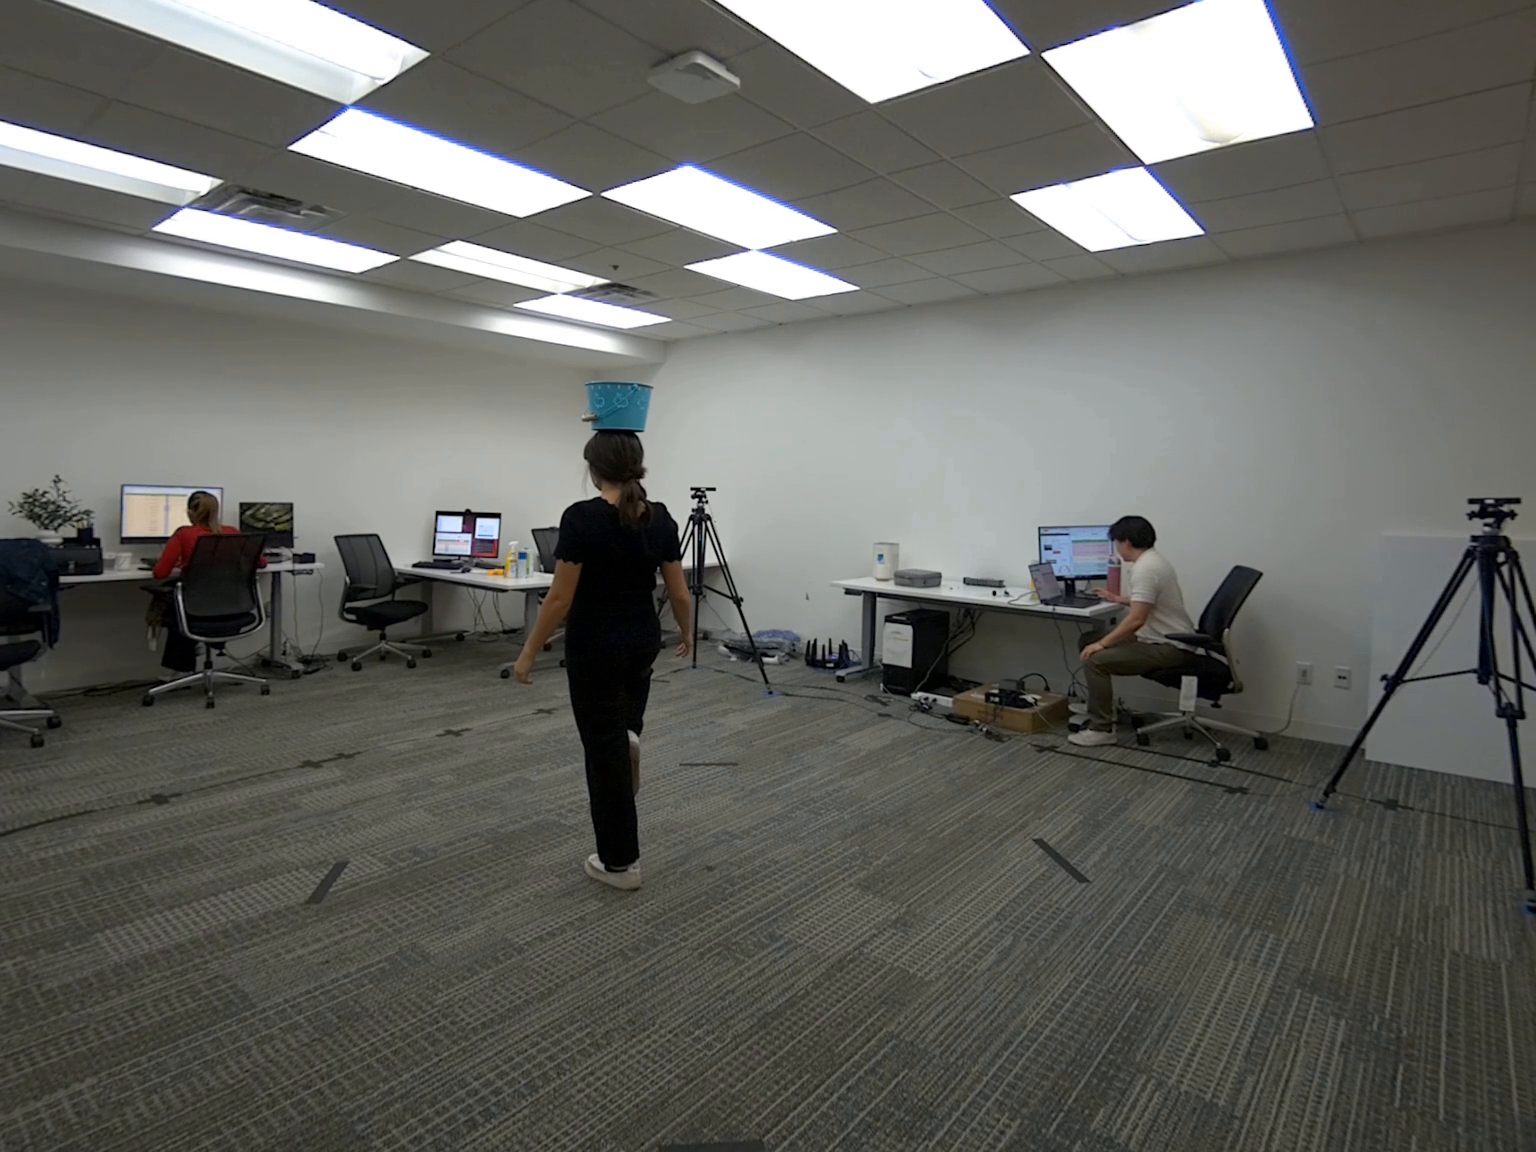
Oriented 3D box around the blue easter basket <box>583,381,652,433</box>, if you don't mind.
[{"bbox_3d":[-0.526,-0.574,2.877,0.243,0.155,0.245,0,5,-2],"label":"blue easter basket"}]
